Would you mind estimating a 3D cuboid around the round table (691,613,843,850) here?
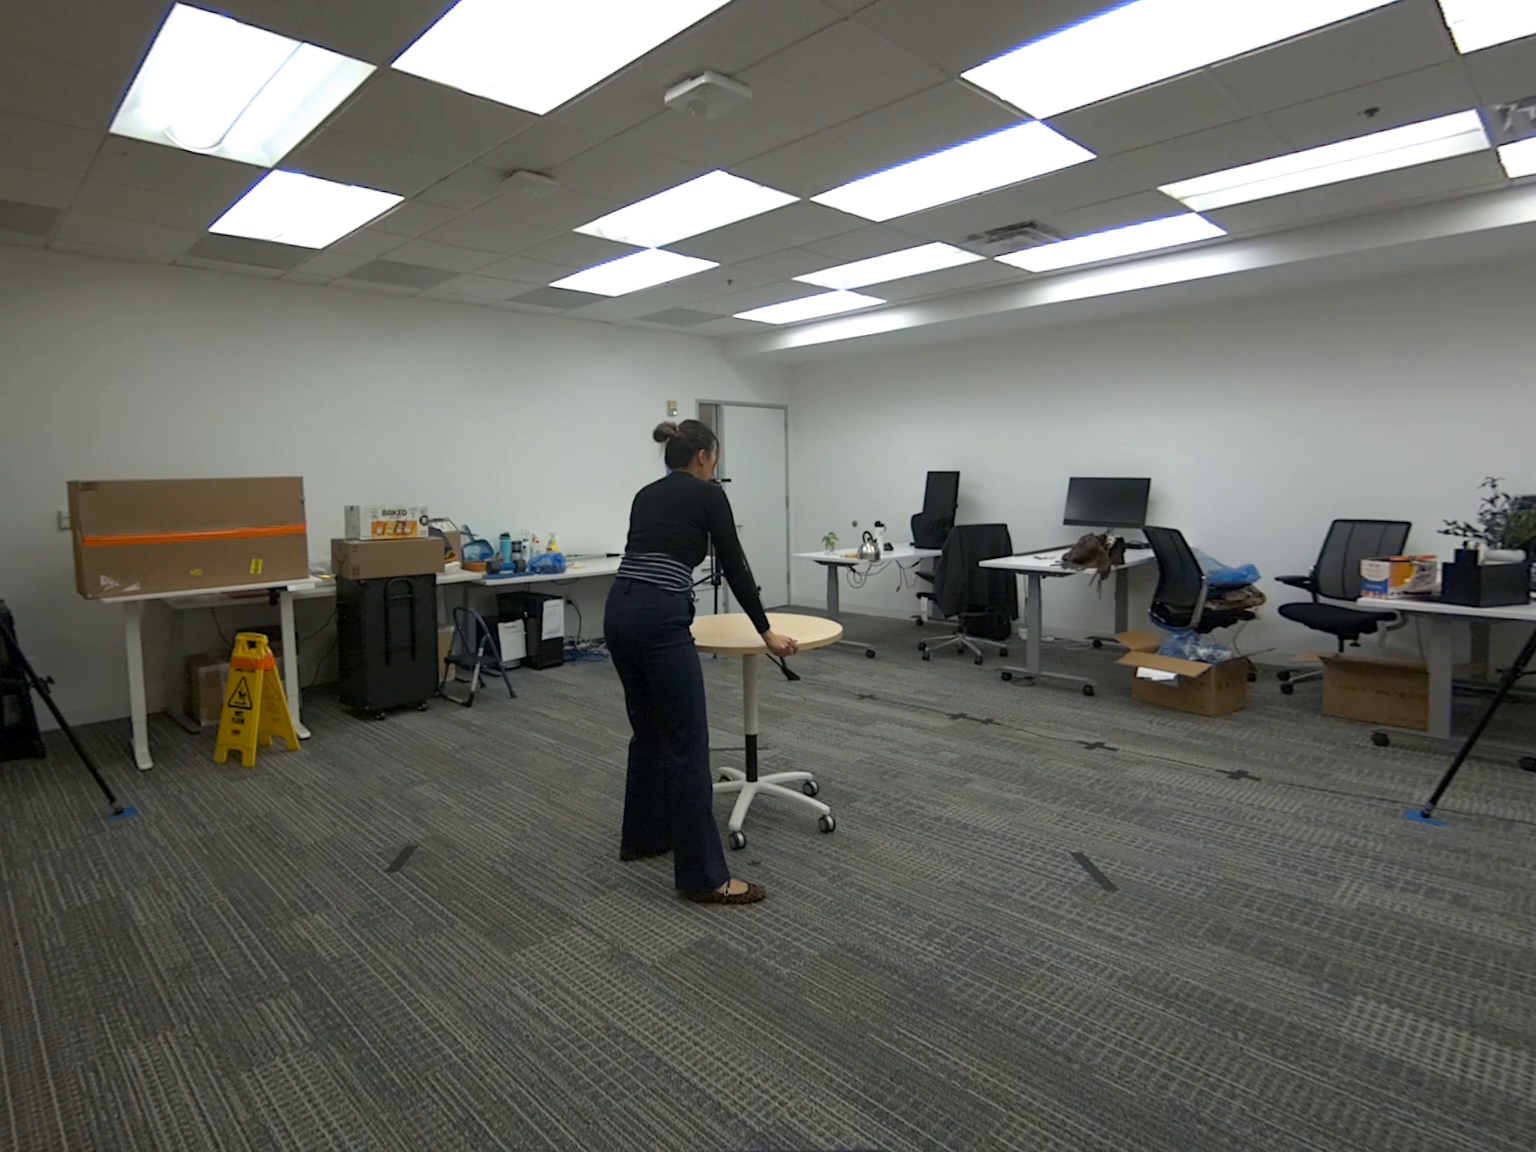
[{"bbox_3d":[-0.065,0.606,3.539,0.763,0.791,0.768,-1,5,-2],"label":"round table"}]
